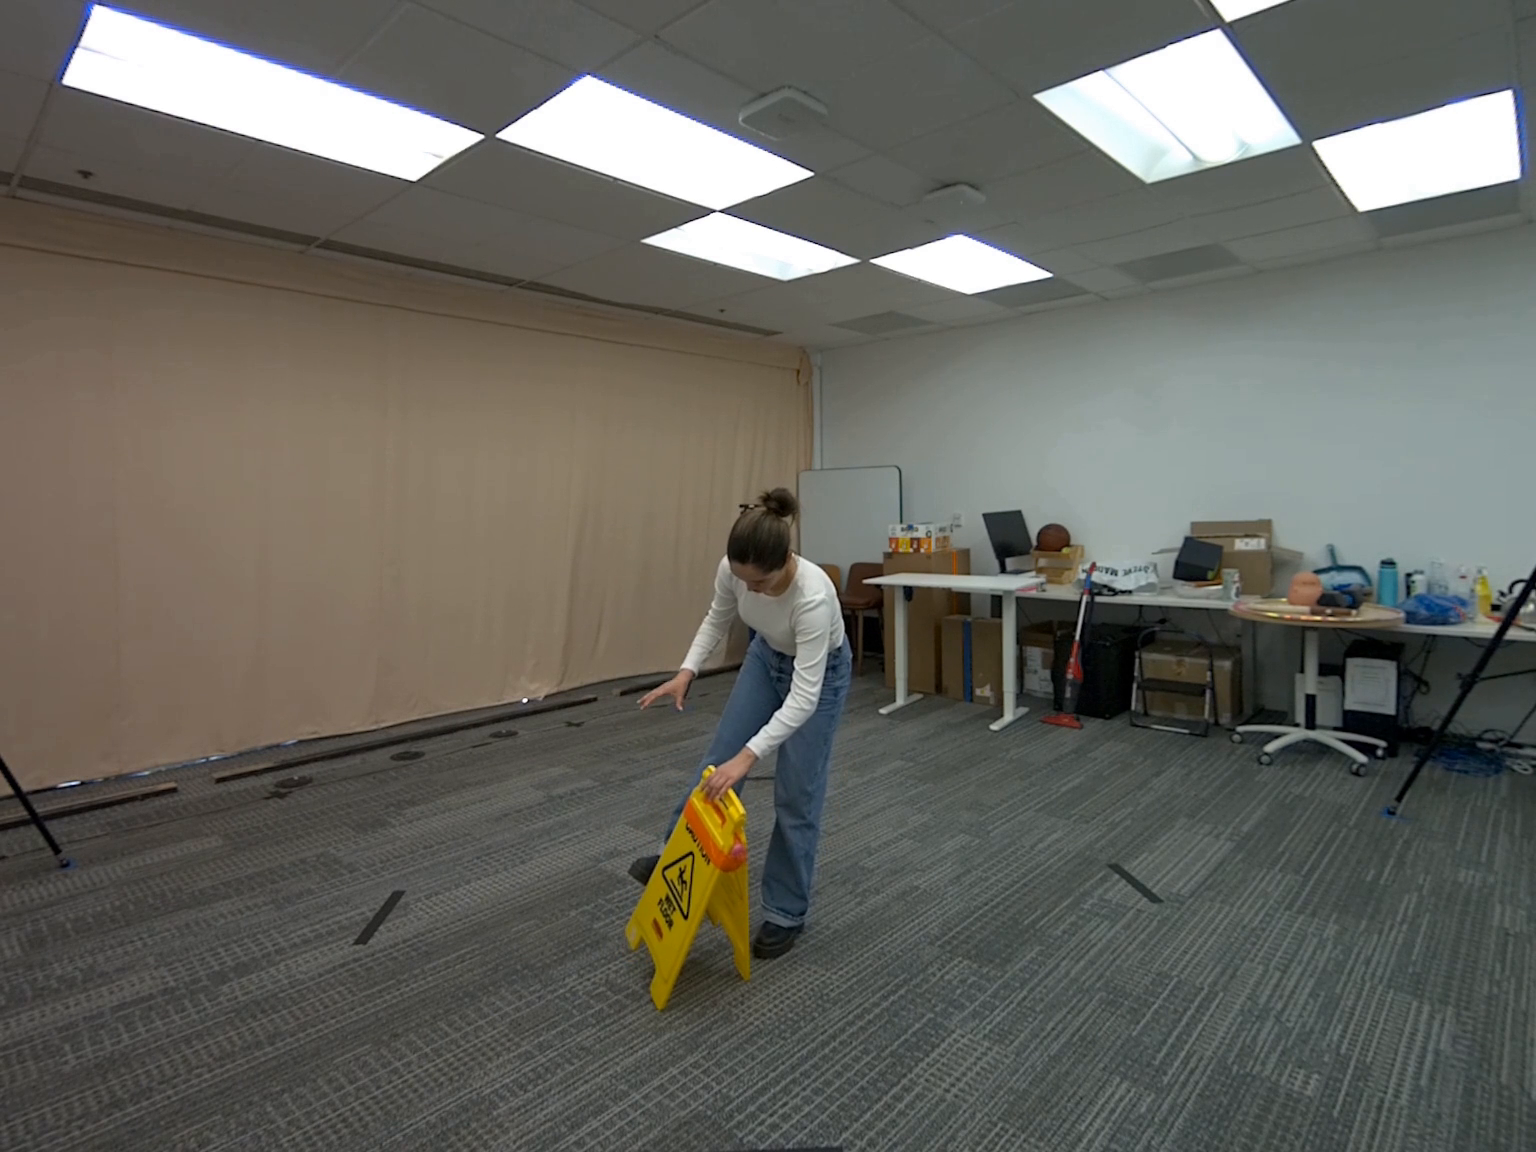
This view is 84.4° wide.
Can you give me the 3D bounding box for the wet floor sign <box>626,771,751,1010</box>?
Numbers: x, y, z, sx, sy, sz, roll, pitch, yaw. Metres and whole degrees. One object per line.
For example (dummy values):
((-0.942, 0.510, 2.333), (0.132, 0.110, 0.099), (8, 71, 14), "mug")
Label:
((-0.174, 0.850, 2.372), (0.282, 0.641, 0.292), (-2, 29, -32), "wet floor sign")
